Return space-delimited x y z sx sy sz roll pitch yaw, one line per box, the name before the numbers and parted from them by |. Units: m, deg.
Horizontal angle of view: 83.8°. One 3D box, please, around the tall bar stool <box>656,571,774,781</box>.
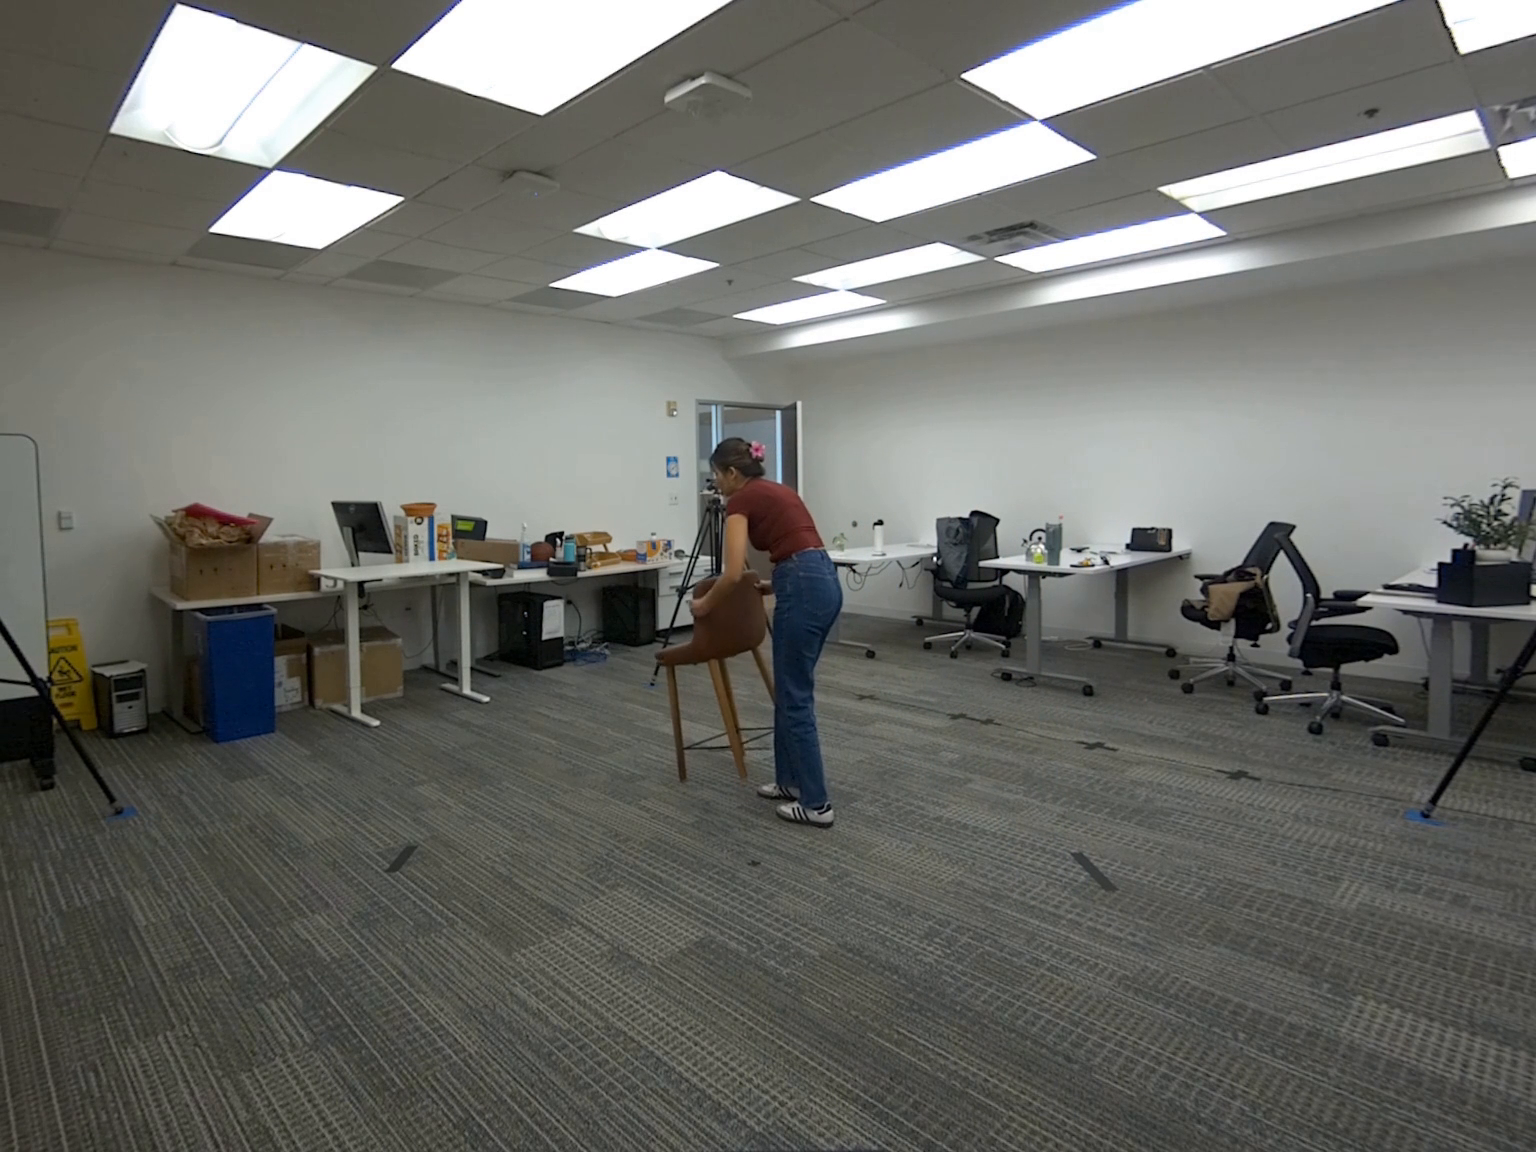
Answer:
tall bar stool | -0.224 0.461 3.982 0.446 0.892 0.477 -10 -3 -43
